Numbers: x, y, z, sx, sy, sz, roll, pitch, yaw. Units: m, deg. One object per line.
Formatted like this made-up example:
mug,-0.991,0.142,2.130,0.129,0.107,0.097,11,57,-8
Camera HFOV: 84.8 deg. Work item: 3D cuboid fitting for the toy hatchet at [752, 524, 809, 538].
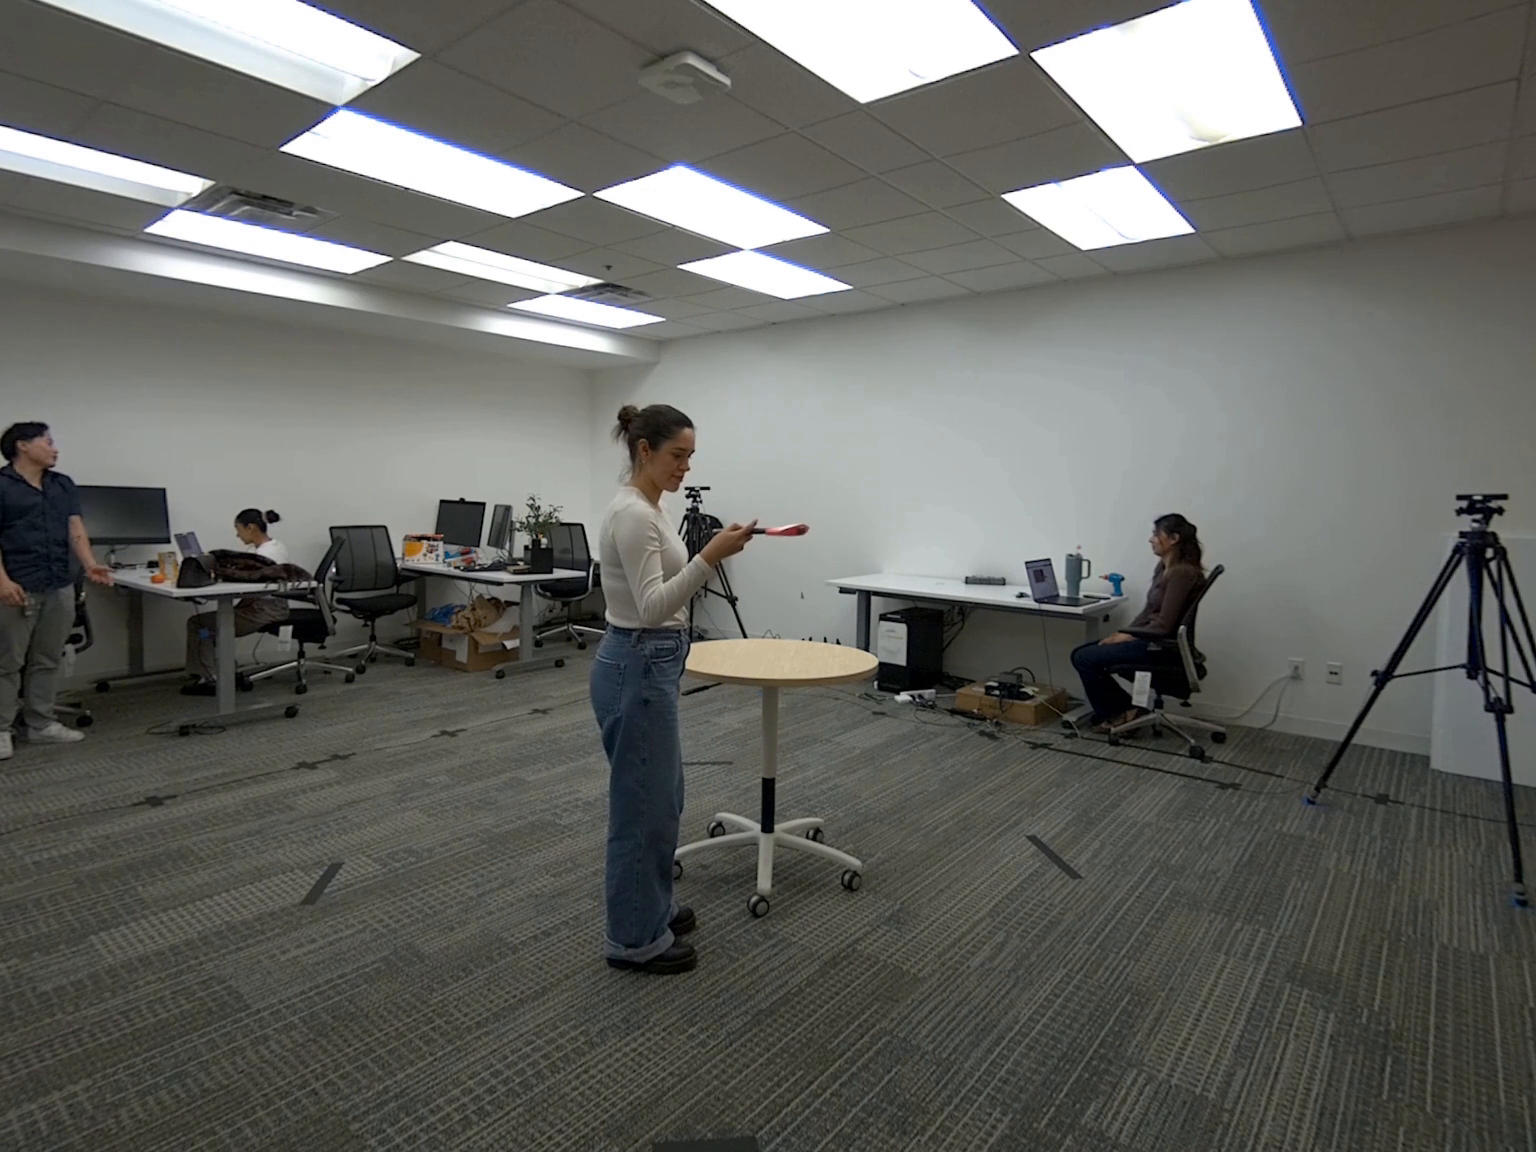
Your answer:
toy hatchet,-0.042,-0.118,2.188,0.276,0.029,0.129,-3,7,22
